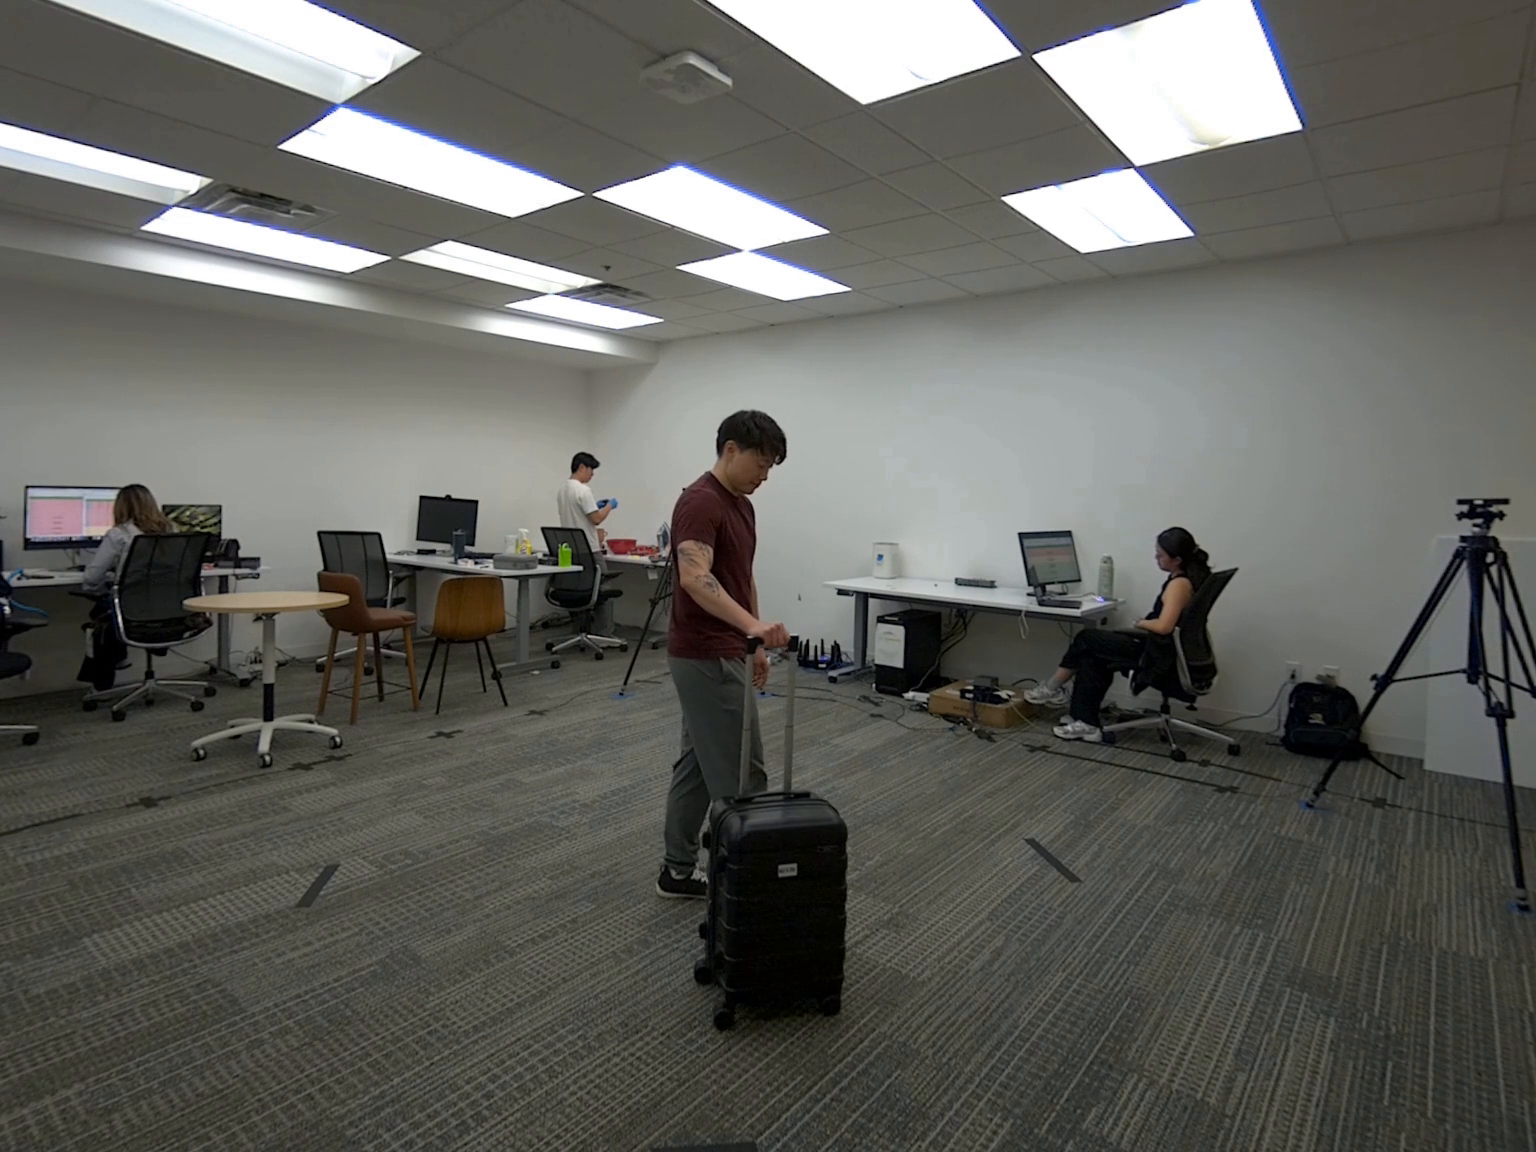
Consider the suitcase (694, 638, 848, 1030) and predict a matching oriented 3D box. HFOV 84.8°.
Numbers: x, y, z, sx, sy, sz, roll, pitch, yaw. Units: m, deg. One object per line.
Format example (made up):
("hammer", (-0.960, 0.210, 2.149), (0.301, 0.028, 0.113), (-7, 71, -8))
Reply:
("suitcase", (0.020, 0.673, 2.315), (0.379, 0.975, 0.261), (2, 4, -13))
